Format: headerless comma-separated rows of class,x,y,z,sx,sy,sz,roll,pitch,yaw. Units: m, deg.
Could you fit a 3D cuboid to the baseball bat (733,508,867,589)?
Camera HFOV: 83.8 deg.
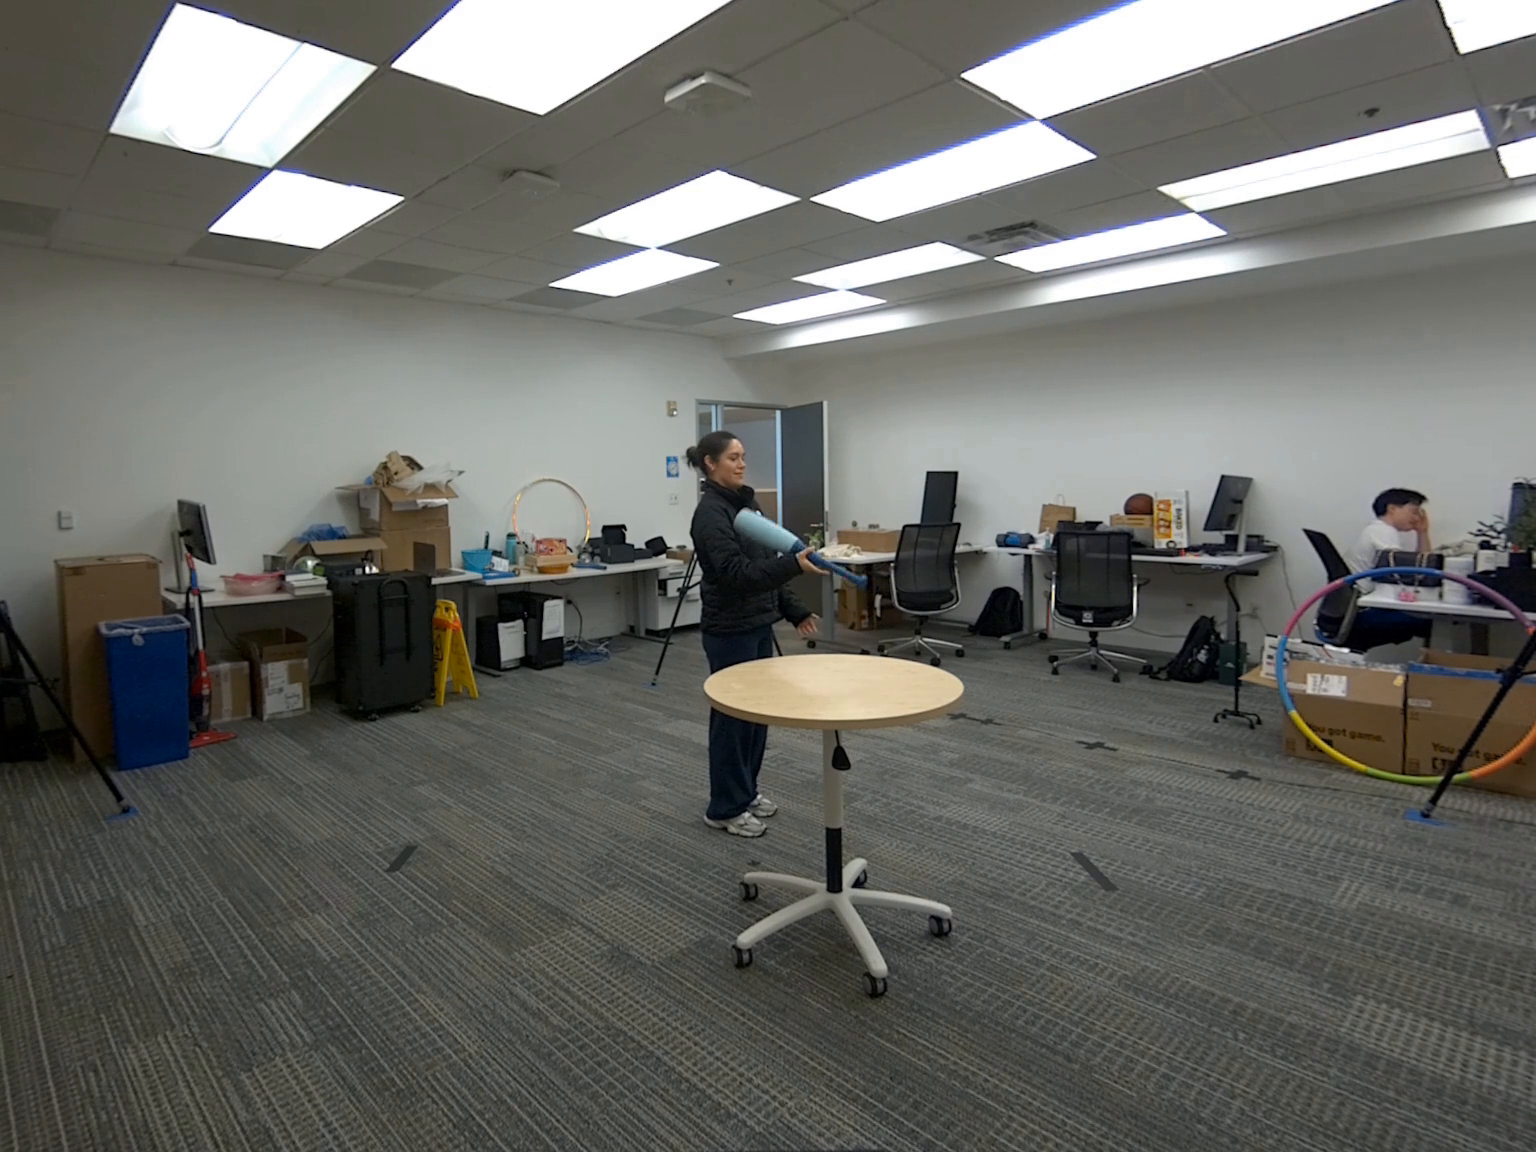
baseball bat,0.129,-0.124,3.104,0.558,0.088,0.087,30,17,23
